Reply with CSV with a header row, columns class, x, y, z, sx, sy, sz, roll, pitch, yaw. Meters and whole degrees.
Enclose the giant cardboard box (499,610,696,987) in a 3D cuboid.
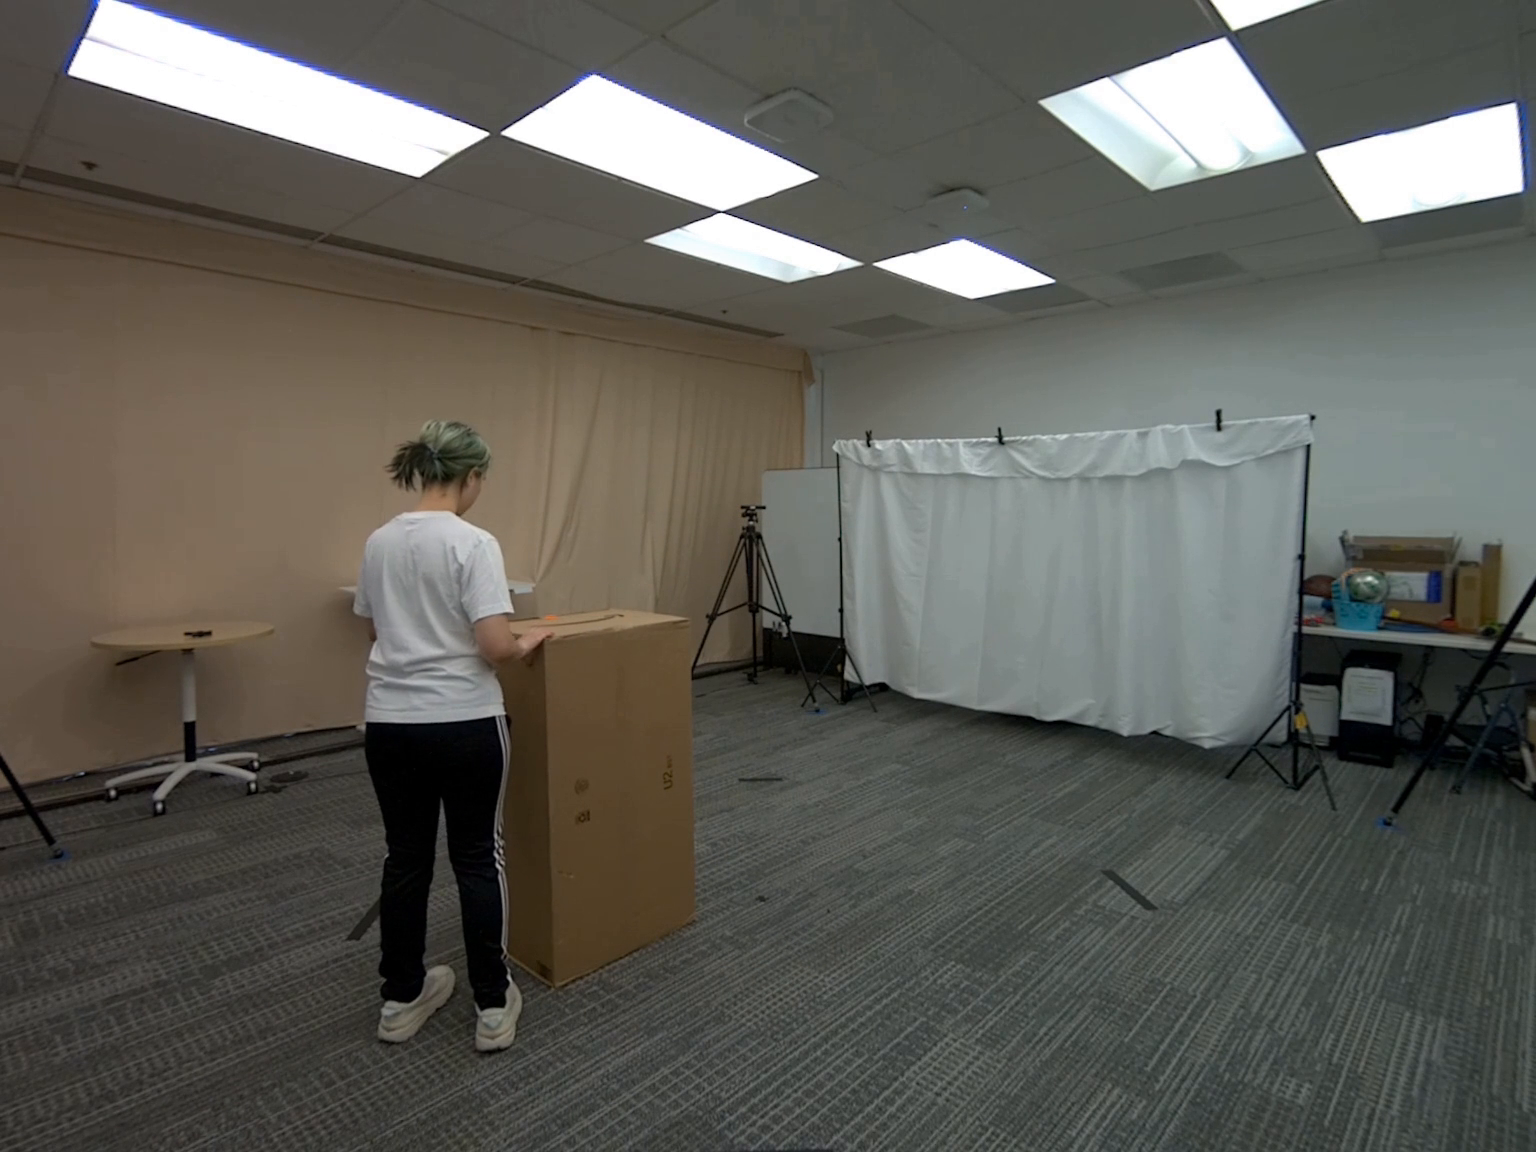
class,x,y,z,sx,sy,sz,roll,pitch,yaw
giant cardboard box,-0.596,0.661,2.750,0.462,1.025,0.566,3,5,42
